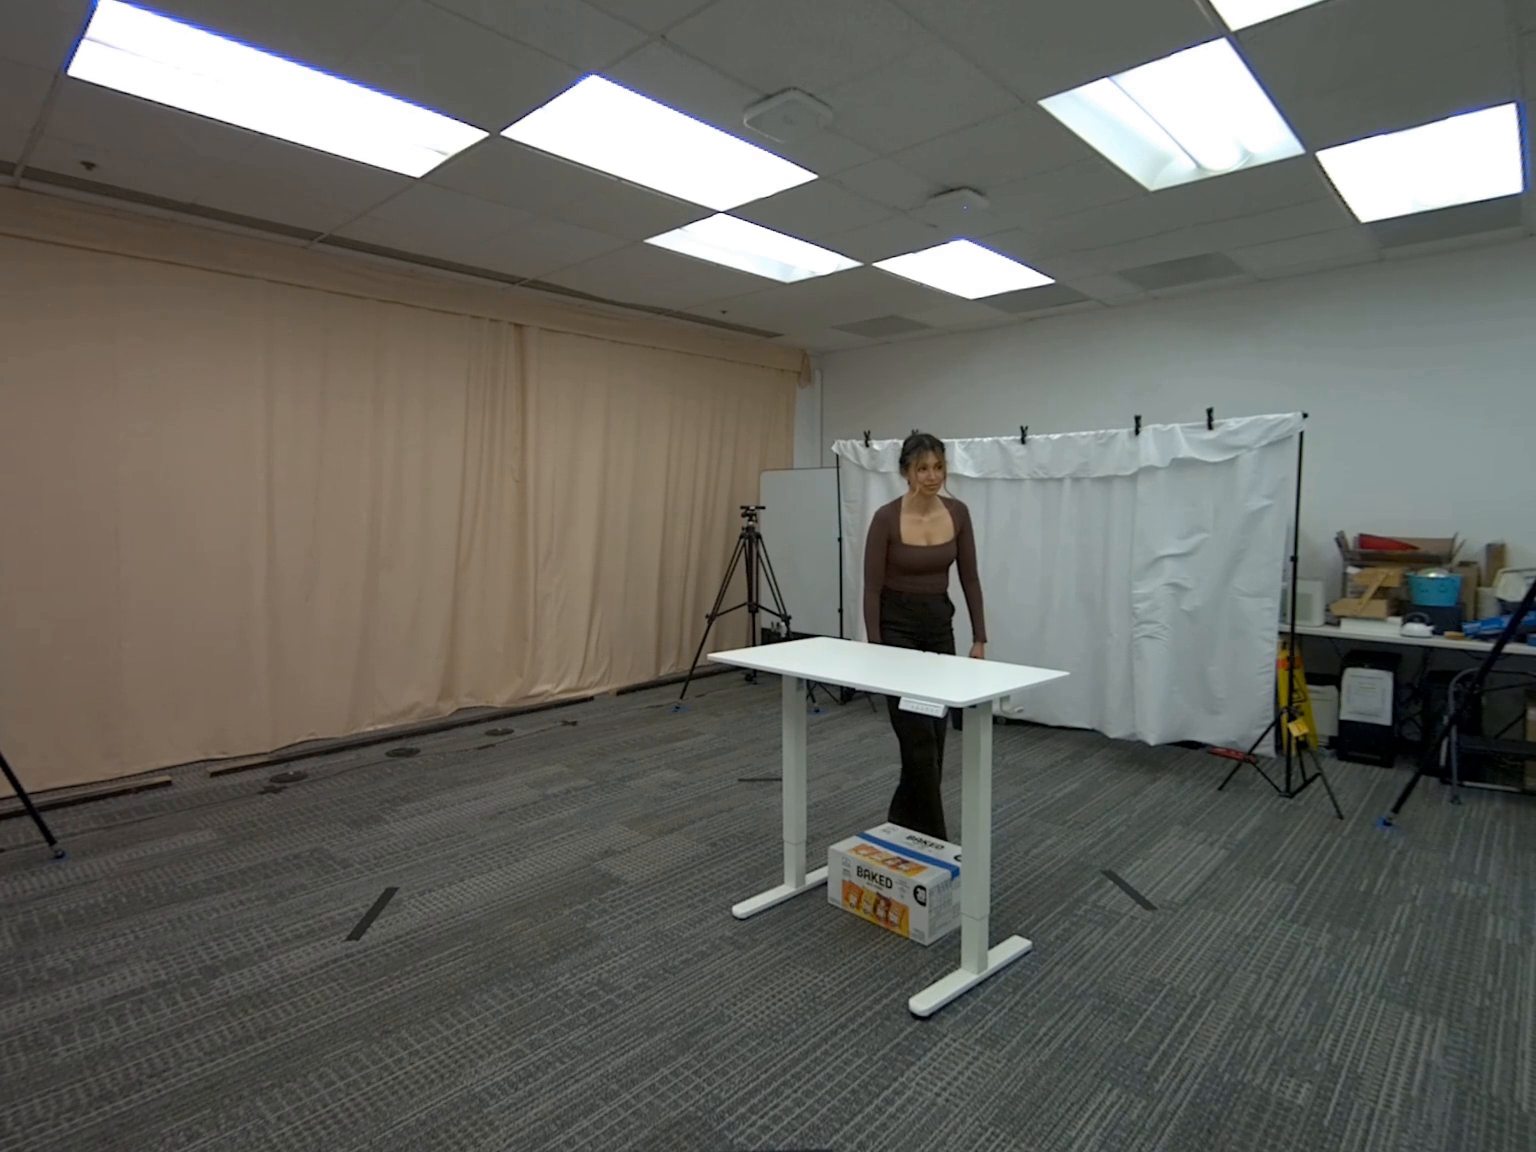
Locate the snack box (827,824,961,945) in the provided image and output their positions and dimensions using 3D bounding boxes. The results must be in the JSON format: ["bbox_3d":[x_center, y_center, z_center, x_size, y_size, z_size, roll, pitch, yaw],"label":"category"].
[{"bbox_3d":[0.479,1.048,2.903,0.330,0.205,0.419,-5,6,-44],"label":"snack box"}]
